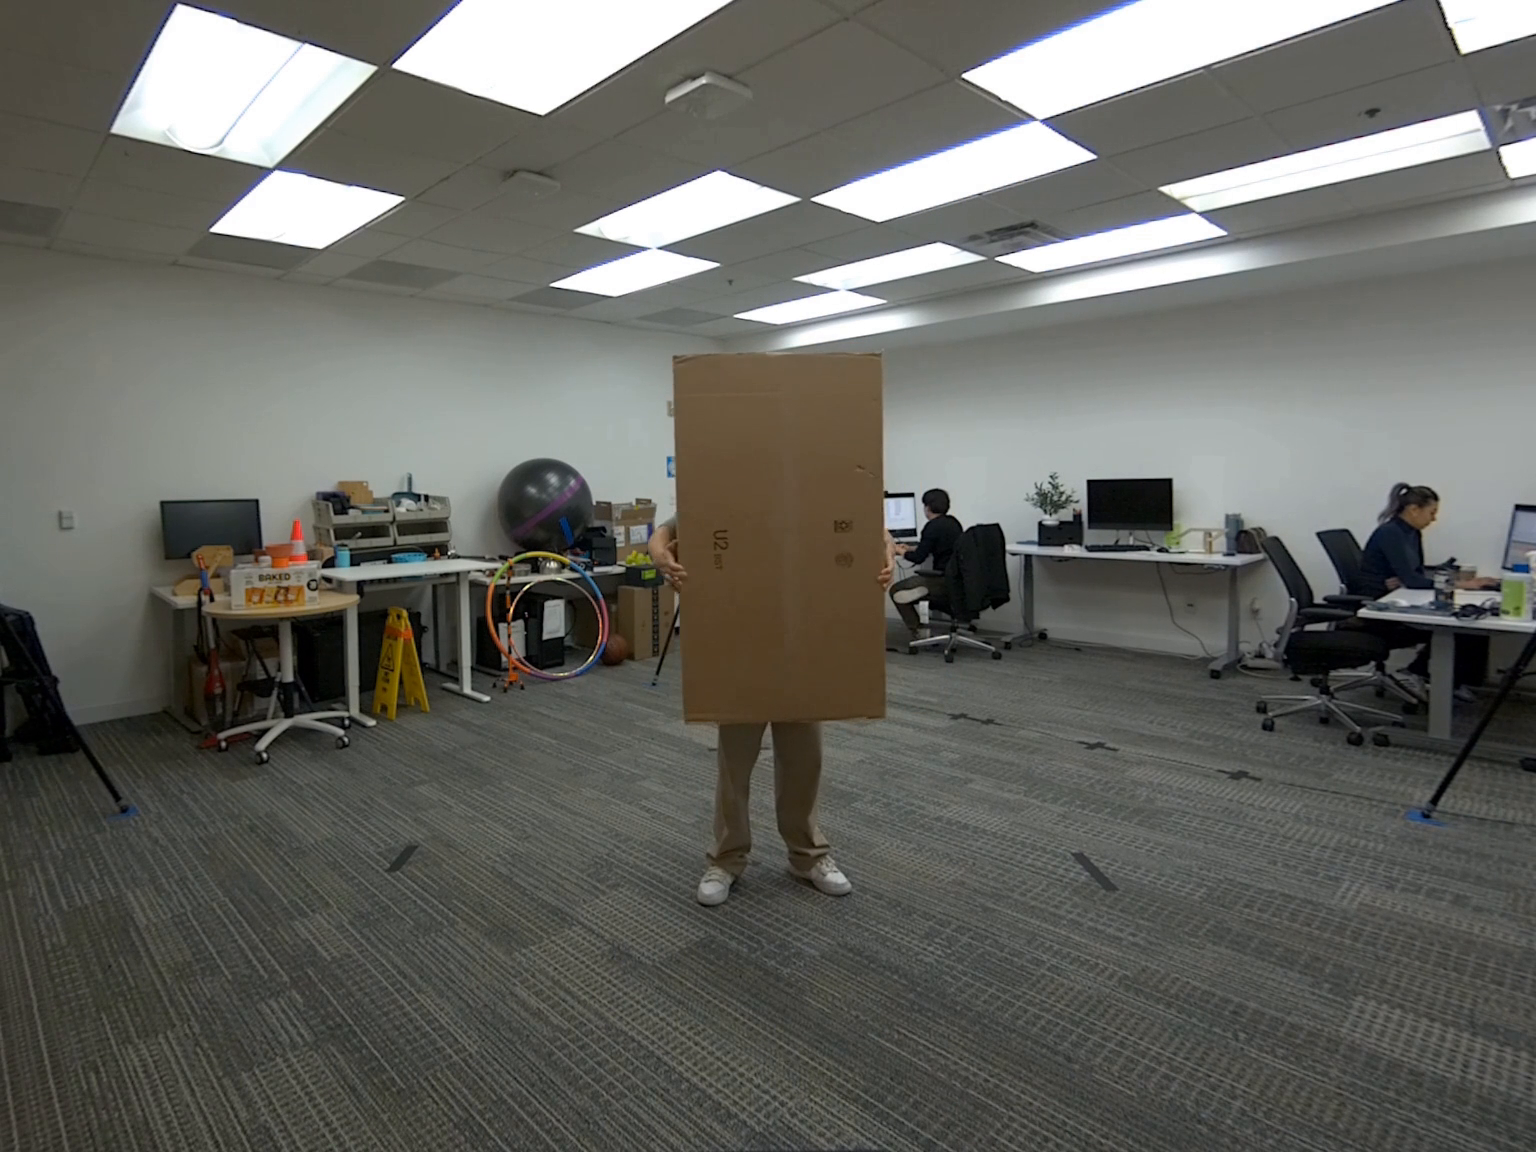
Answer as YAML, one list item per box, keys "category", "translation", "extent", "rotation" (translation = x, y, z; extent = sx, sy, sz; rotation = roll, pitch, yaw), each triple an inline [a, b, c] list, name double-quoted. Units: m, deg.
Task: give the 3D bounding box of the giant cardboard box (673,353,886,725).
- category: "giant cardboard box"
  translation: [0.021, -0.130, 2.548]
  extent: [0.576, 1.020, 0.430]
  rotation: [-2, 6, -4]
